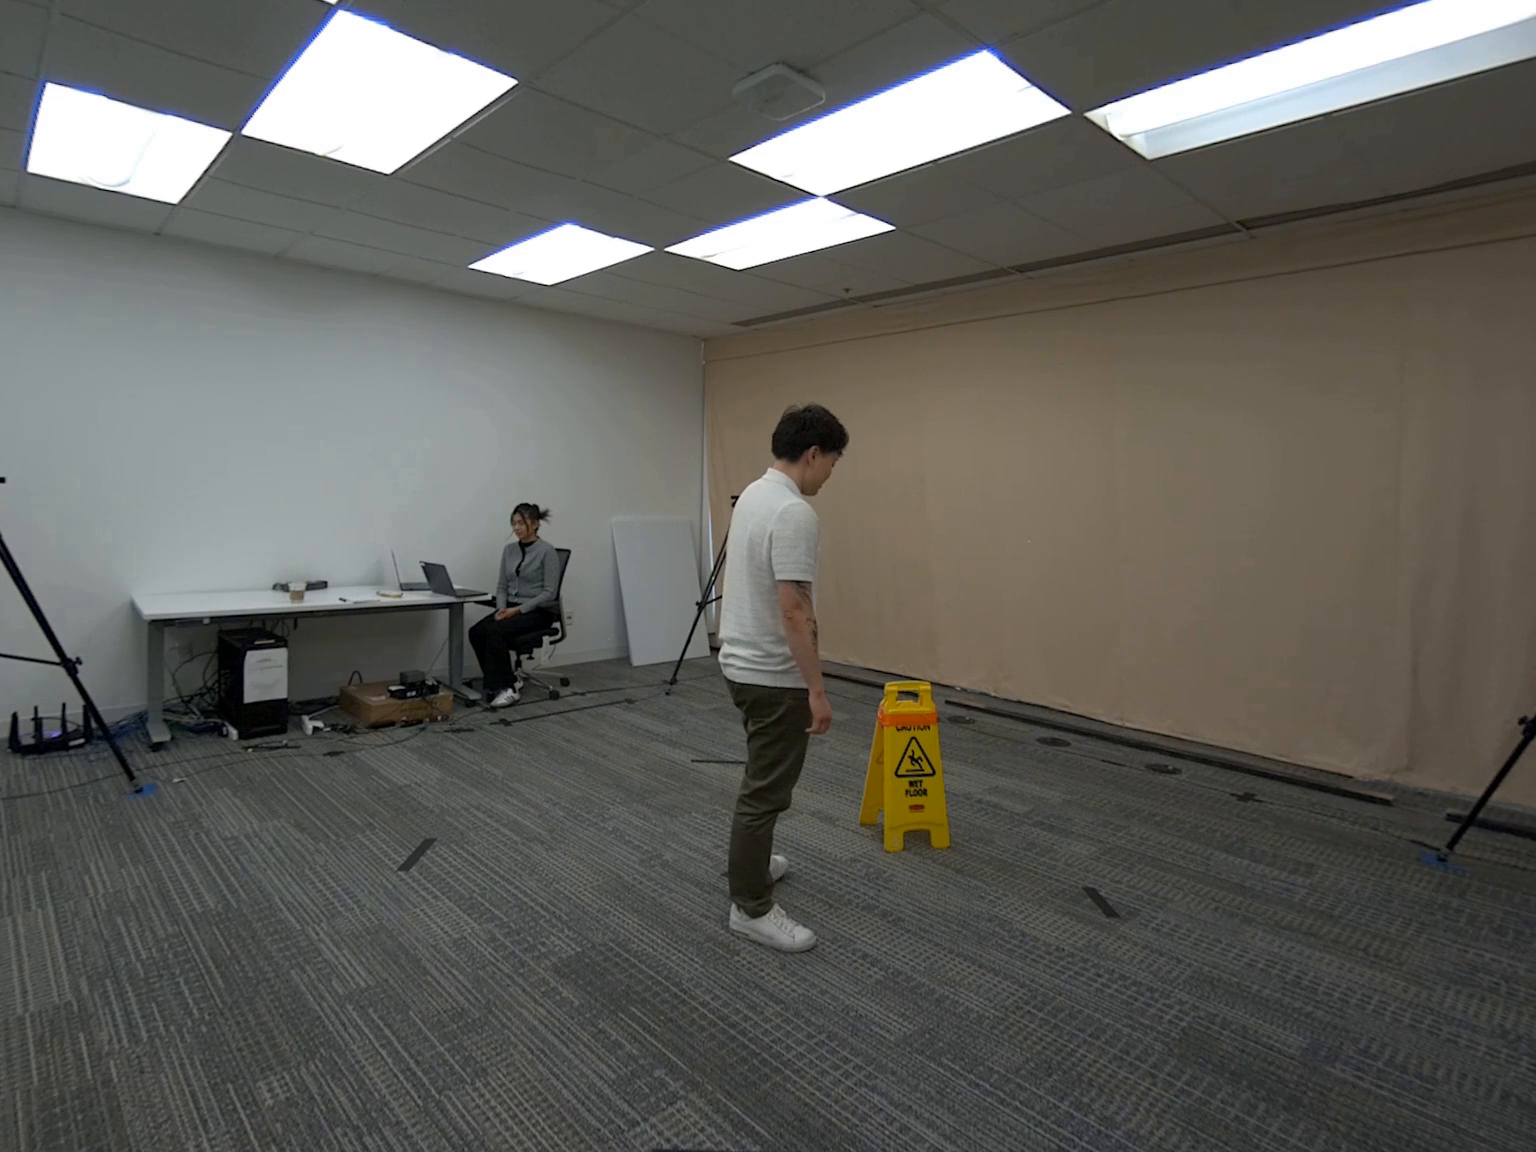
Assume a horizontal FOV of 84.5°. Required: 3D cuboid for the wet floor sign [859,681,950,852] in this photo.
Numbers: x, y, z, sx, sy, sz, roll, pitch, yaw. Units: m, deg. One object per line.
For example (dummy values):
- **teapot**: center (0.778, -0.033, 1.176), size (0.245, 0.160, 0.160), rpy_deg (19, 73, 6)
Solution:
- **wet floor sign**: center (0.565, 0.759, 3.499), size (0.279, 0.645, 0.293), rpy_deg (1, 3, -15)
